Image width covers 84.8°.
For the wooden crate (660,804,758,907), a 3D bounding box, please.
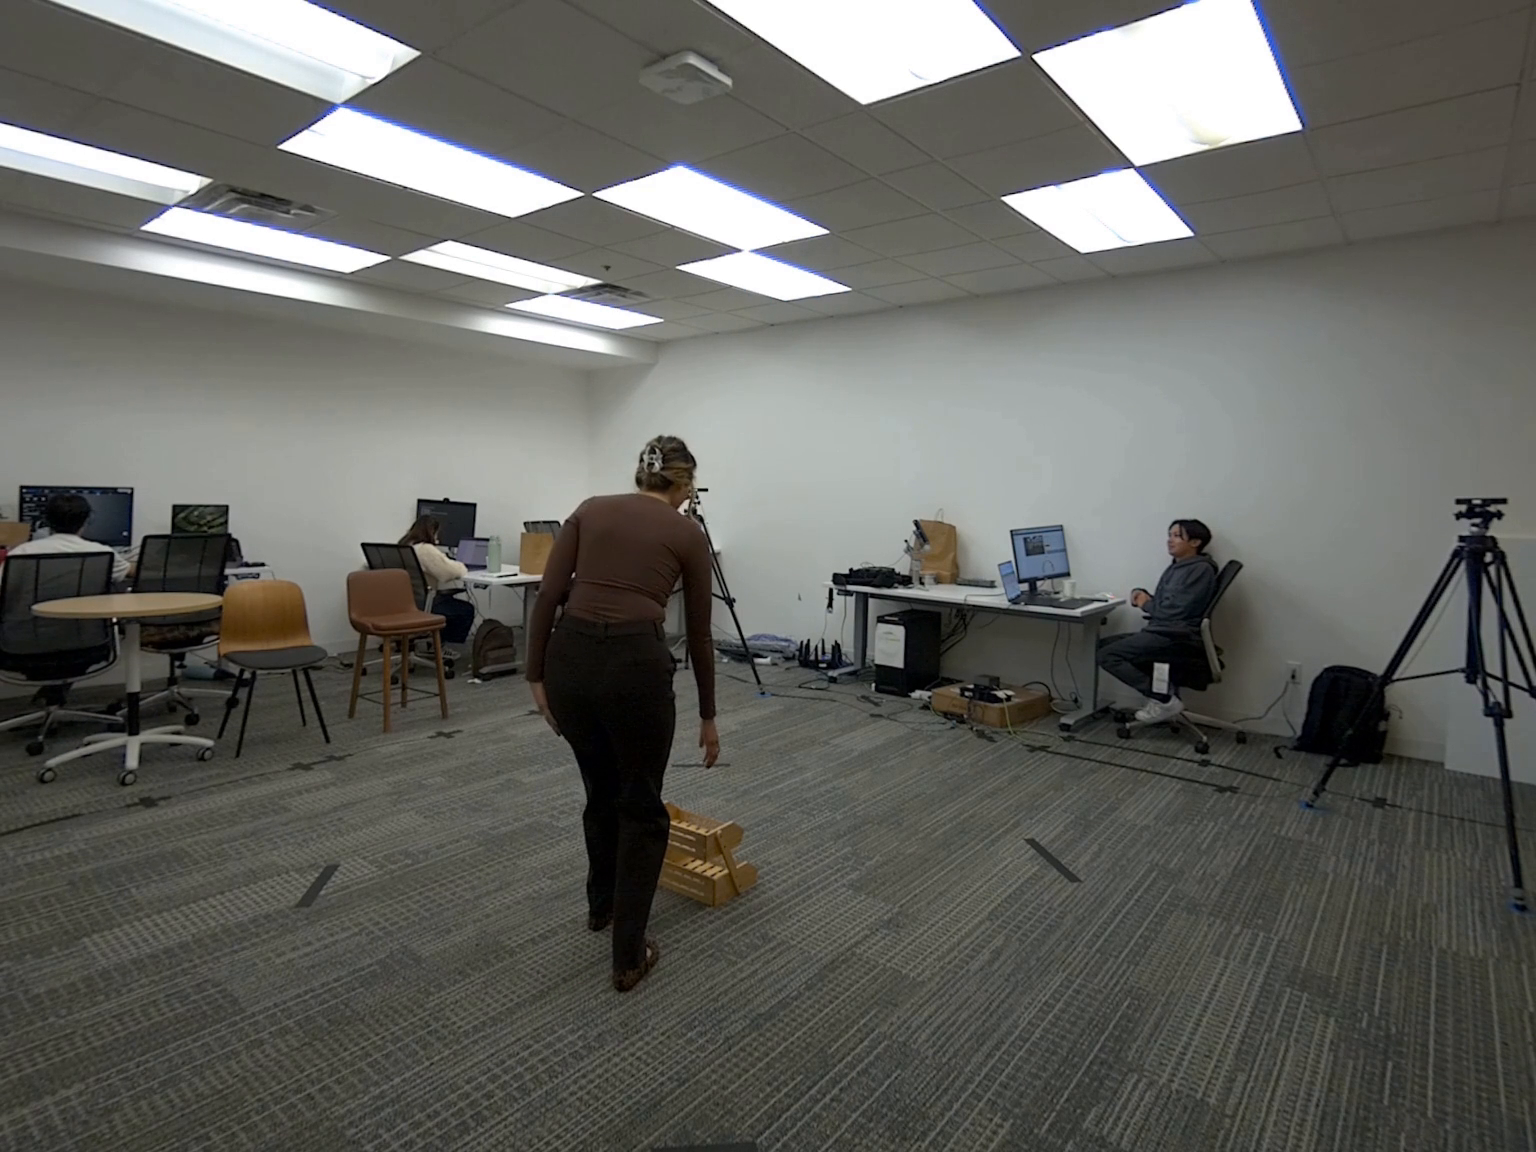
[{"bbox_3d":[-0.250,0.946,2.986,0.335,0.272,0.293,4,5,36],"label":"wooden crate"}]
